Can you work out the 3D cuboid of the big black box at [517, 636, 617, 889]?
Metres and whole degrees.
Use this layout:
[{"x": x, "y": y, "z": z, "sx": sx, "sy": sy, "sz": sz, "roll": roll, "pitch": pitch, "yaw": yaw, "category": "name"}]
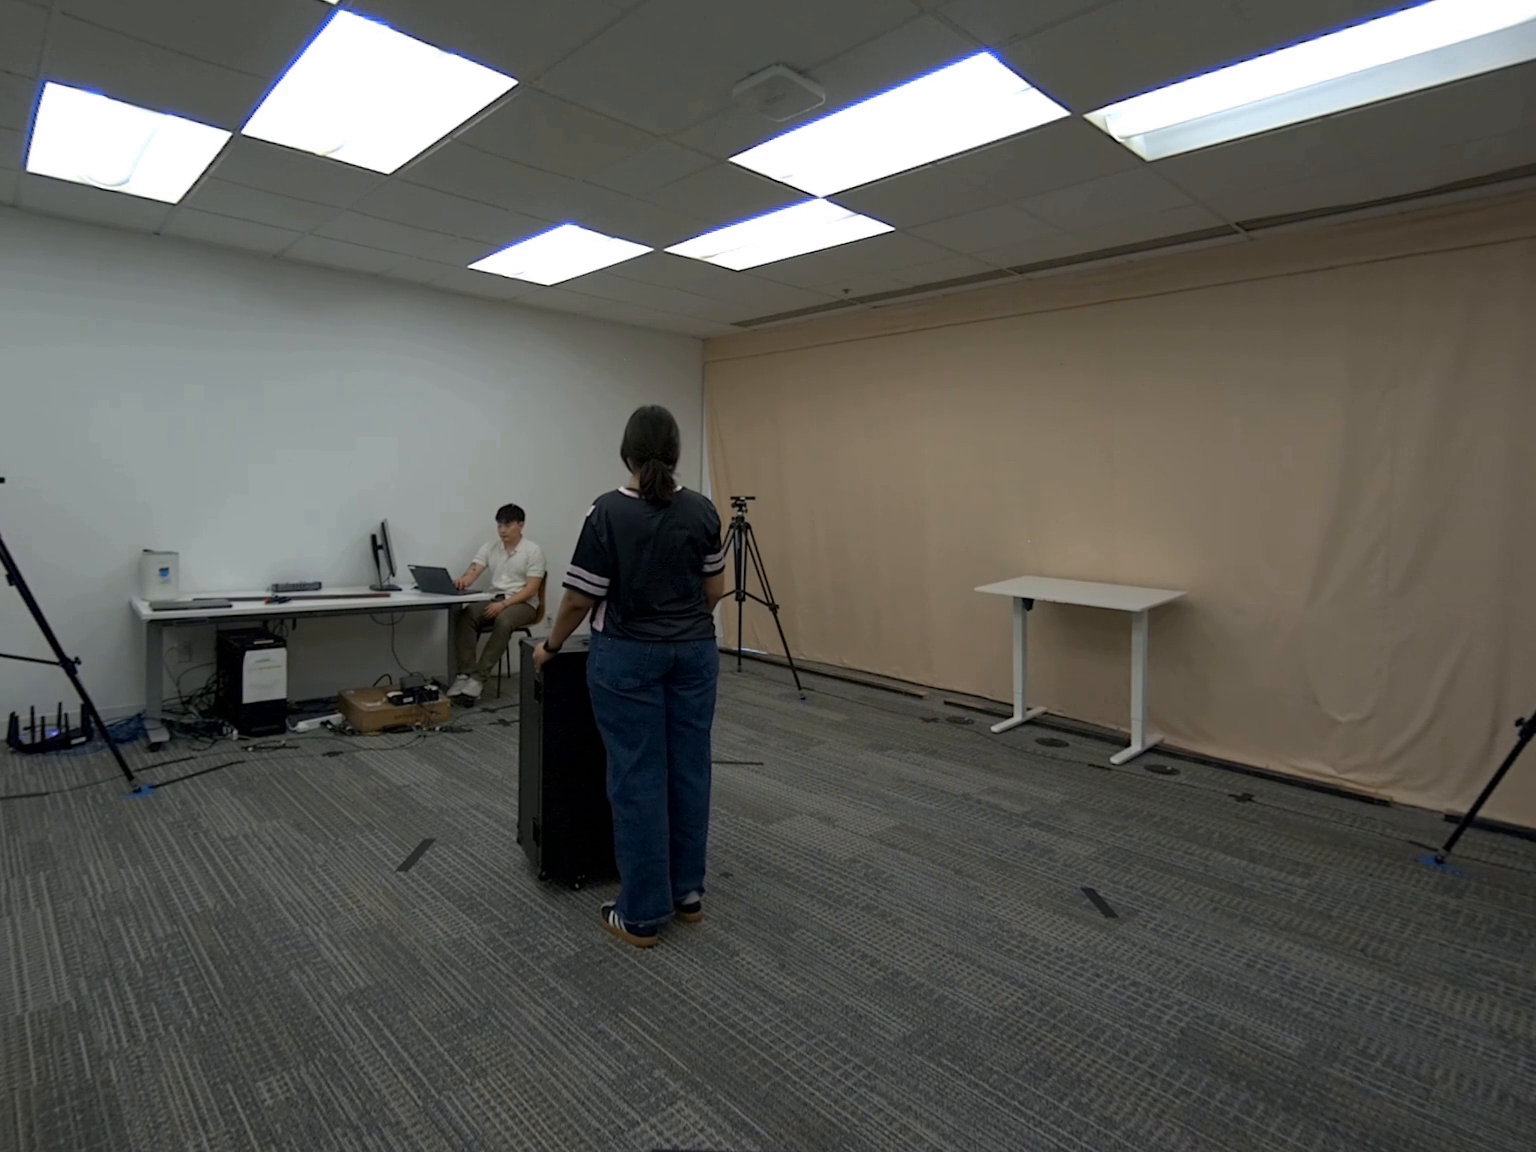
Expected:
[{"x": -0.662, "y": 0.669, "z": 3.123, "sx": 0.513, "sy": 0.867, "sz": 0.393, "roll": 0, "pitch": 3, "yaw": -27, "category": "big black box"}]
